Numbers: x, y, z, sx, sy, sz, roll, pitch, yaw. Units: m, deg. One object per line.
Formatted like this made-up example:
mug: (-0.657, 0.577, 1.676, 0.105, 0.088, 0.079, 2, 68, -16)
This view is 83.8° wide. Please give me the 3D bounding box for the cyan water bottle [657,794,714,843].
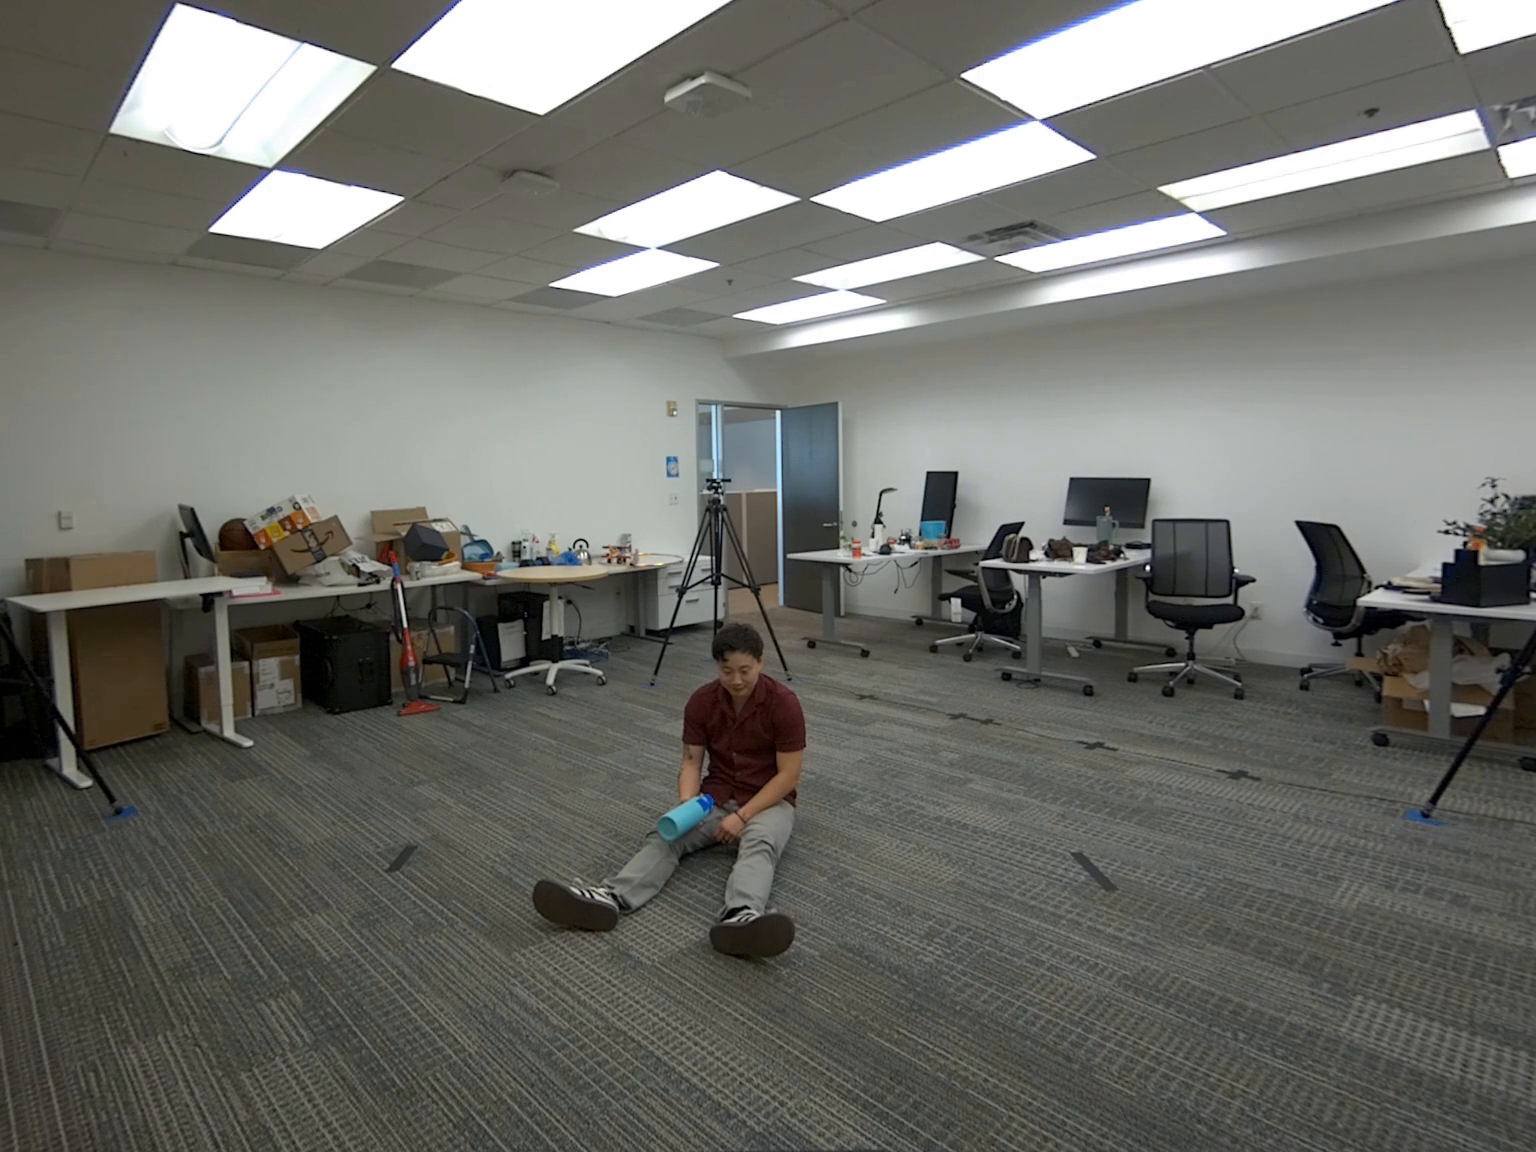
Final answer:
cyan water bottle: (-0.282, 0.860, 3.050, 0.094, 0.092, 0.277, 1, 5, 26)
